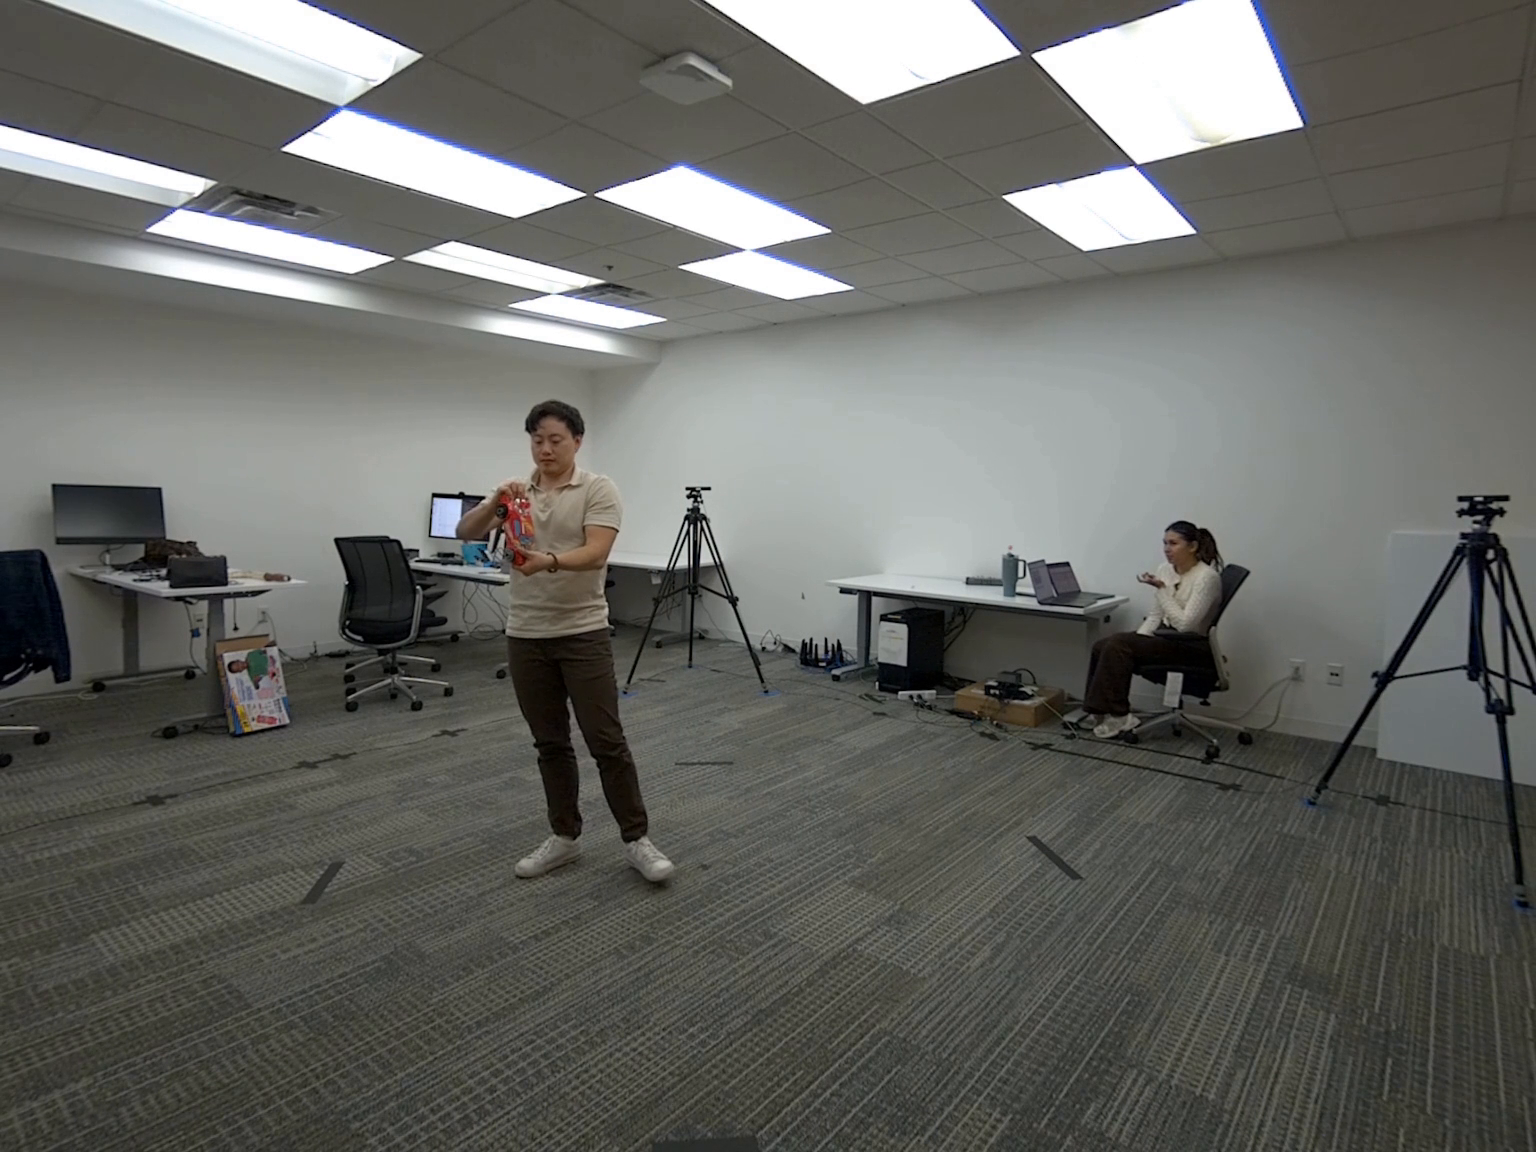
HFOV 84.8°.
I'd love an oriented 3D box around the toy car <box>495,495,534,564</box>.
[{"bbox_3d":[-0.827,-0.162,2.743,0.085,0.255,0.127,-2,-3,22],"label":"toy car"}]
